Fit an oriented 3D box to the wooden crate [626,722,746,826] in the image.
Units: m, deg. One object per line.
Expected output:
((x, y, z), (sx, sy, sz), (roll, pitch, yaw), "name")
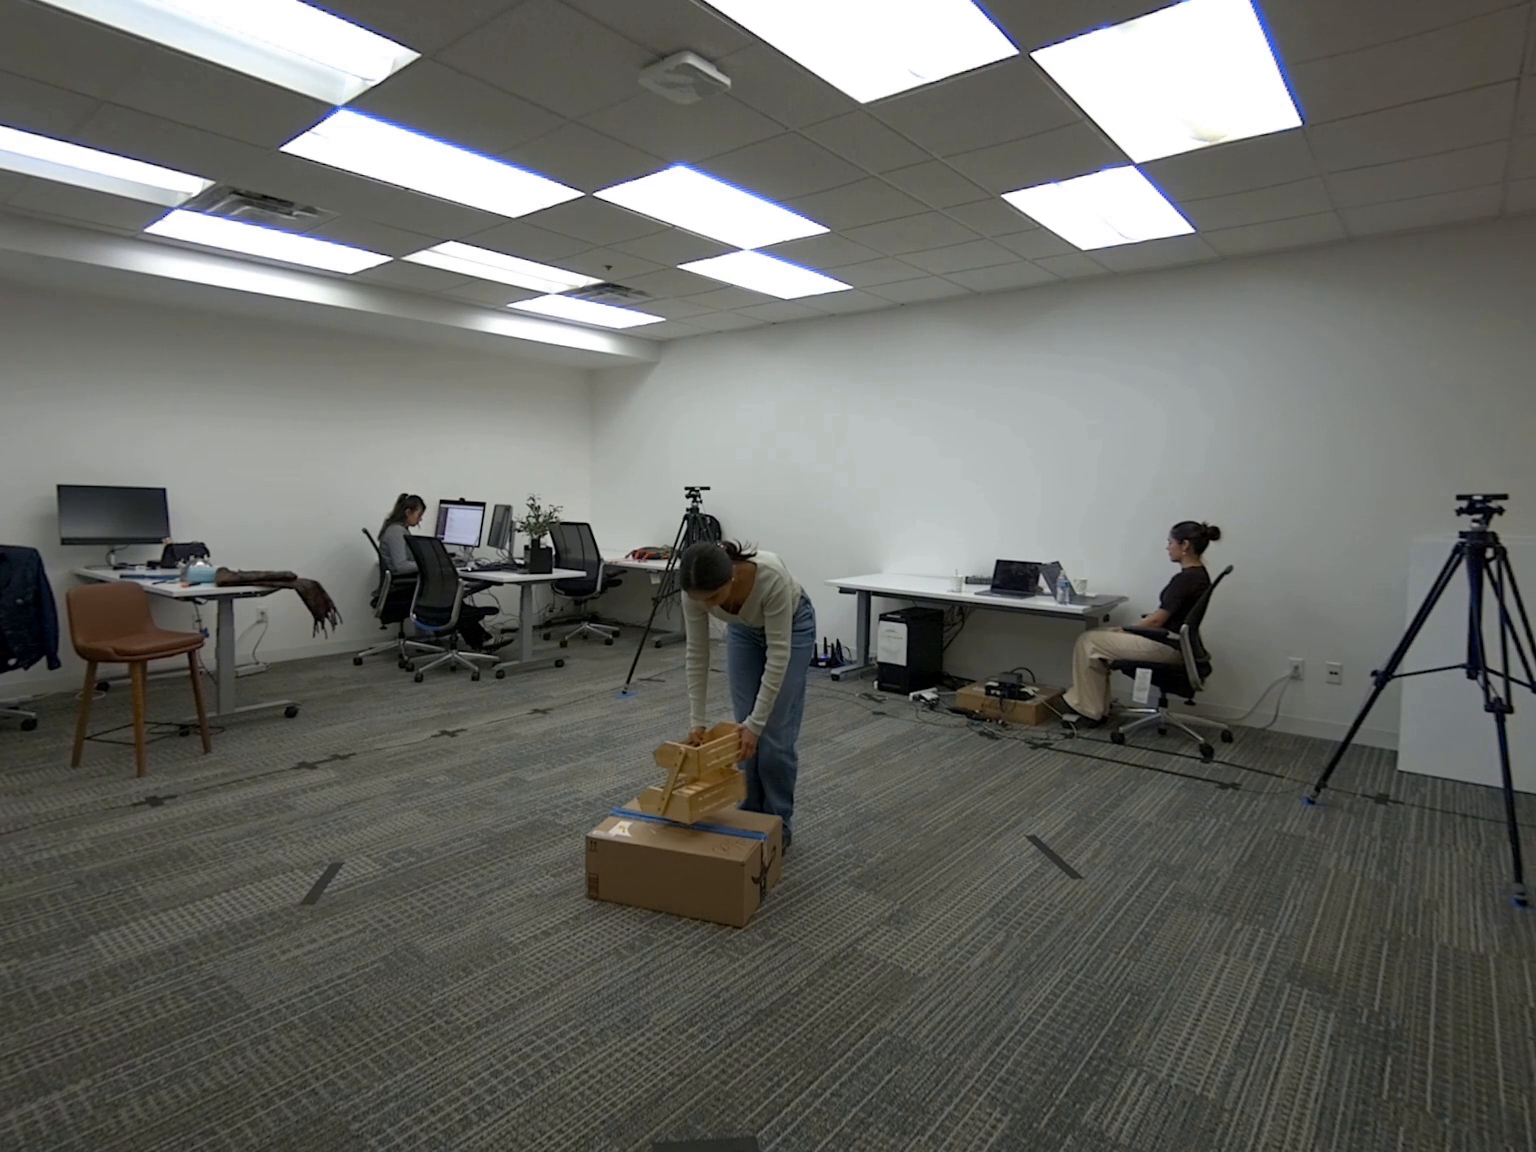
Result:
((-0.264, 0.658, 2.968), (0.311, 0.272, 0.315), (1, 6, 39), "wooden crate")
